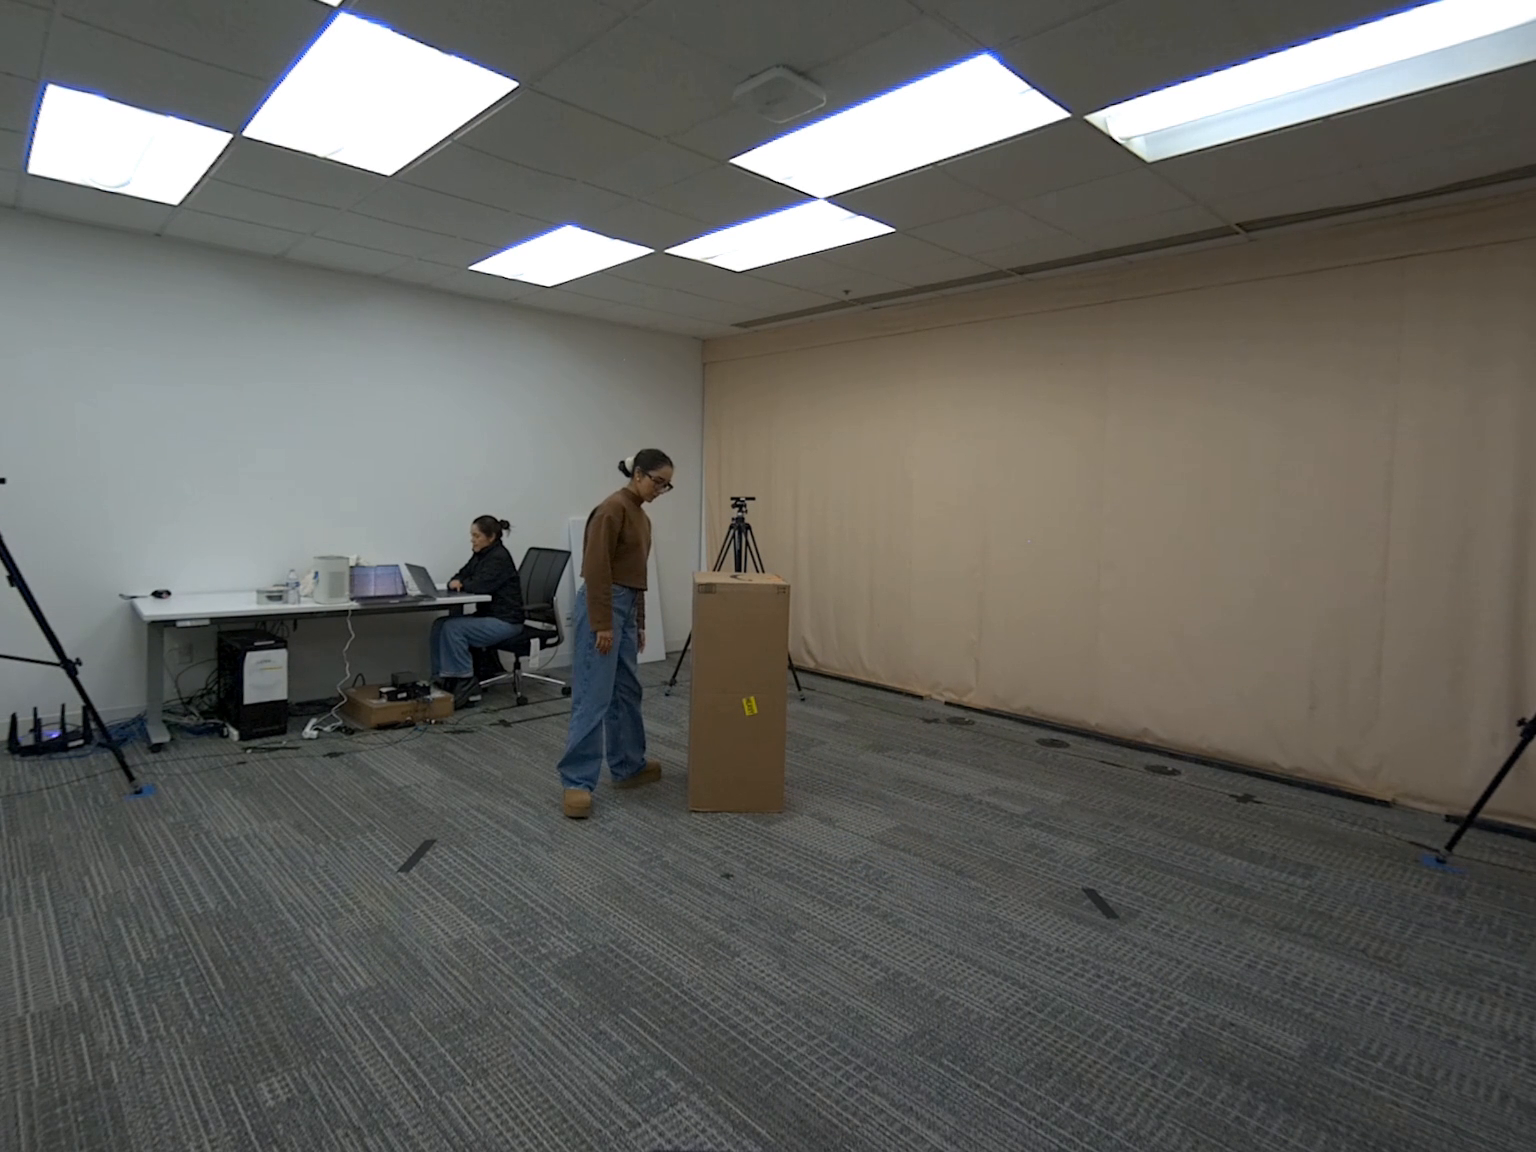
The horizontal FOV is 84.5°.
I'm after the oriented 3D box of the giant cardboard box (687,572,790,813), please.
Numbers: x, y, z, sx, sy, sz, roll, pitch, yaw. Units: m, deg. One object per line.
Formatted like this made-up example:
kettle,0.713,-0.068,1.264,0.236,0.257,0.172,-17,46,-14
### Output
giant cardboard box,-0.164,0.521,4.012,0.424,1.024,0.581,1,2,-6
